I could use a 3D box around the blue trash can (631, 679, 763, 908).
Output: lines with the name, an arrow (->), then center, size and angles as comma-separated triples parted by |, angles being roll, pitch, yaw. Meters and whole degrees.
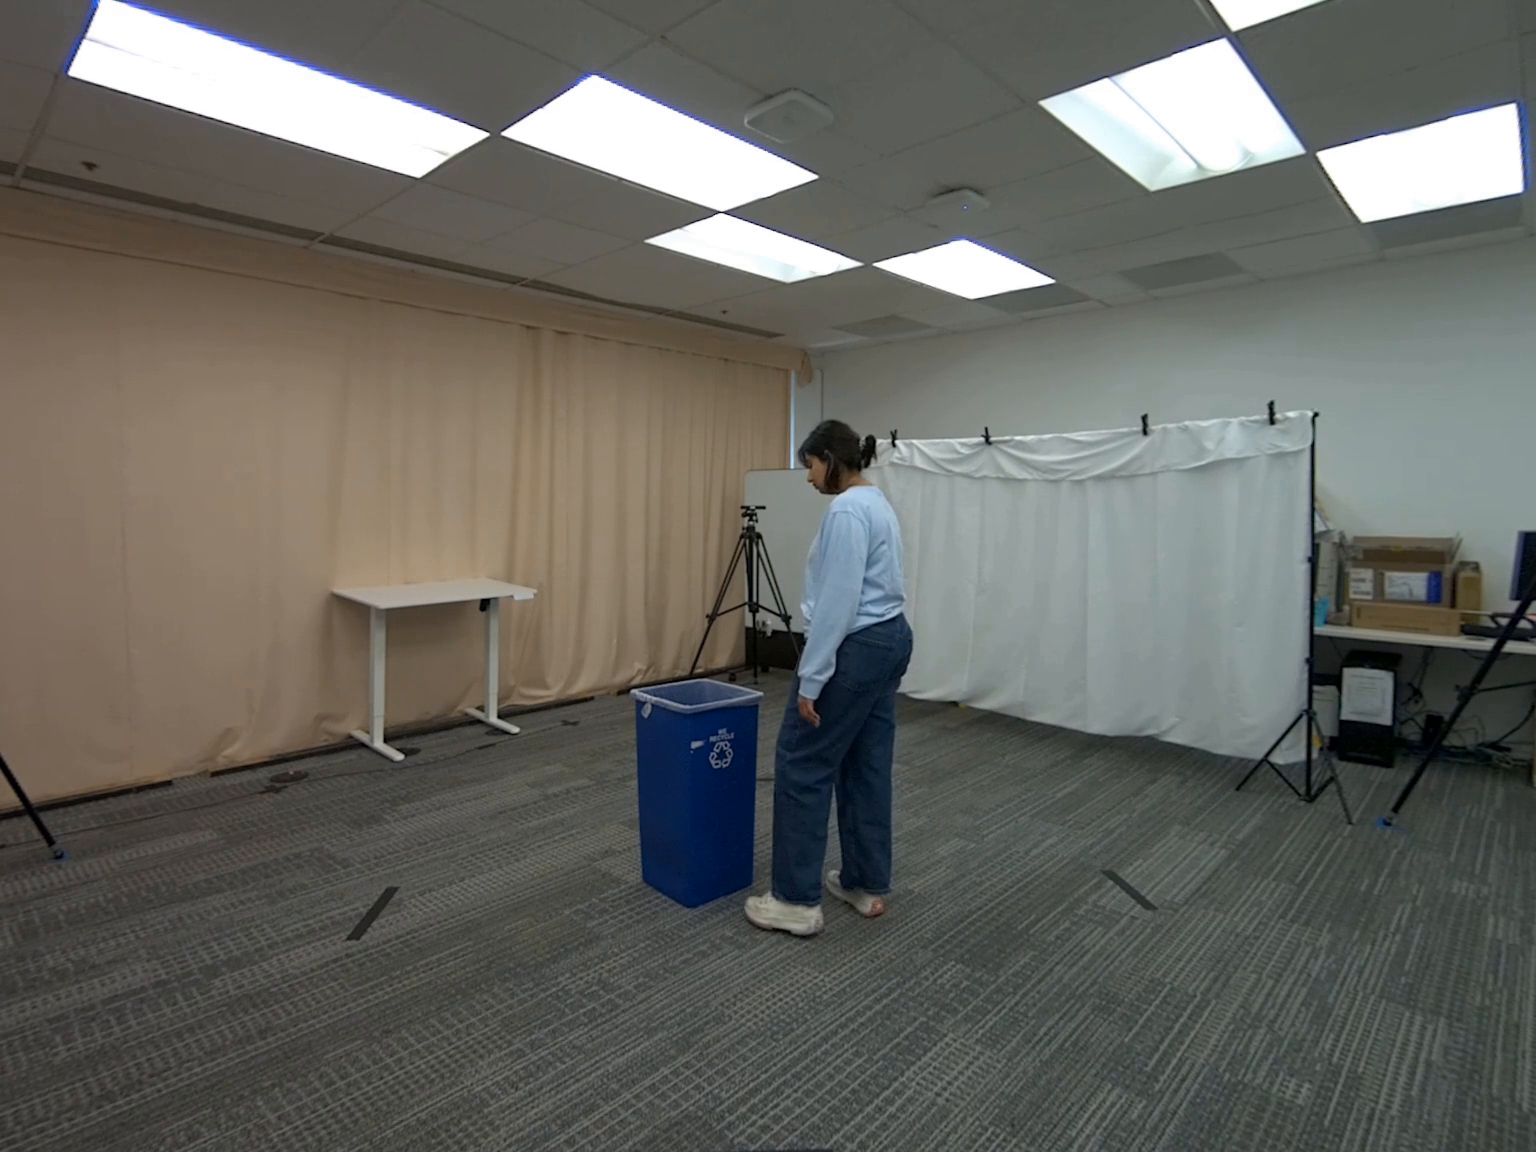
blue trash can -> -0.259, 0.779, 3.104 | 0.363, 0.712, 0.390 | -3, 5, -41
